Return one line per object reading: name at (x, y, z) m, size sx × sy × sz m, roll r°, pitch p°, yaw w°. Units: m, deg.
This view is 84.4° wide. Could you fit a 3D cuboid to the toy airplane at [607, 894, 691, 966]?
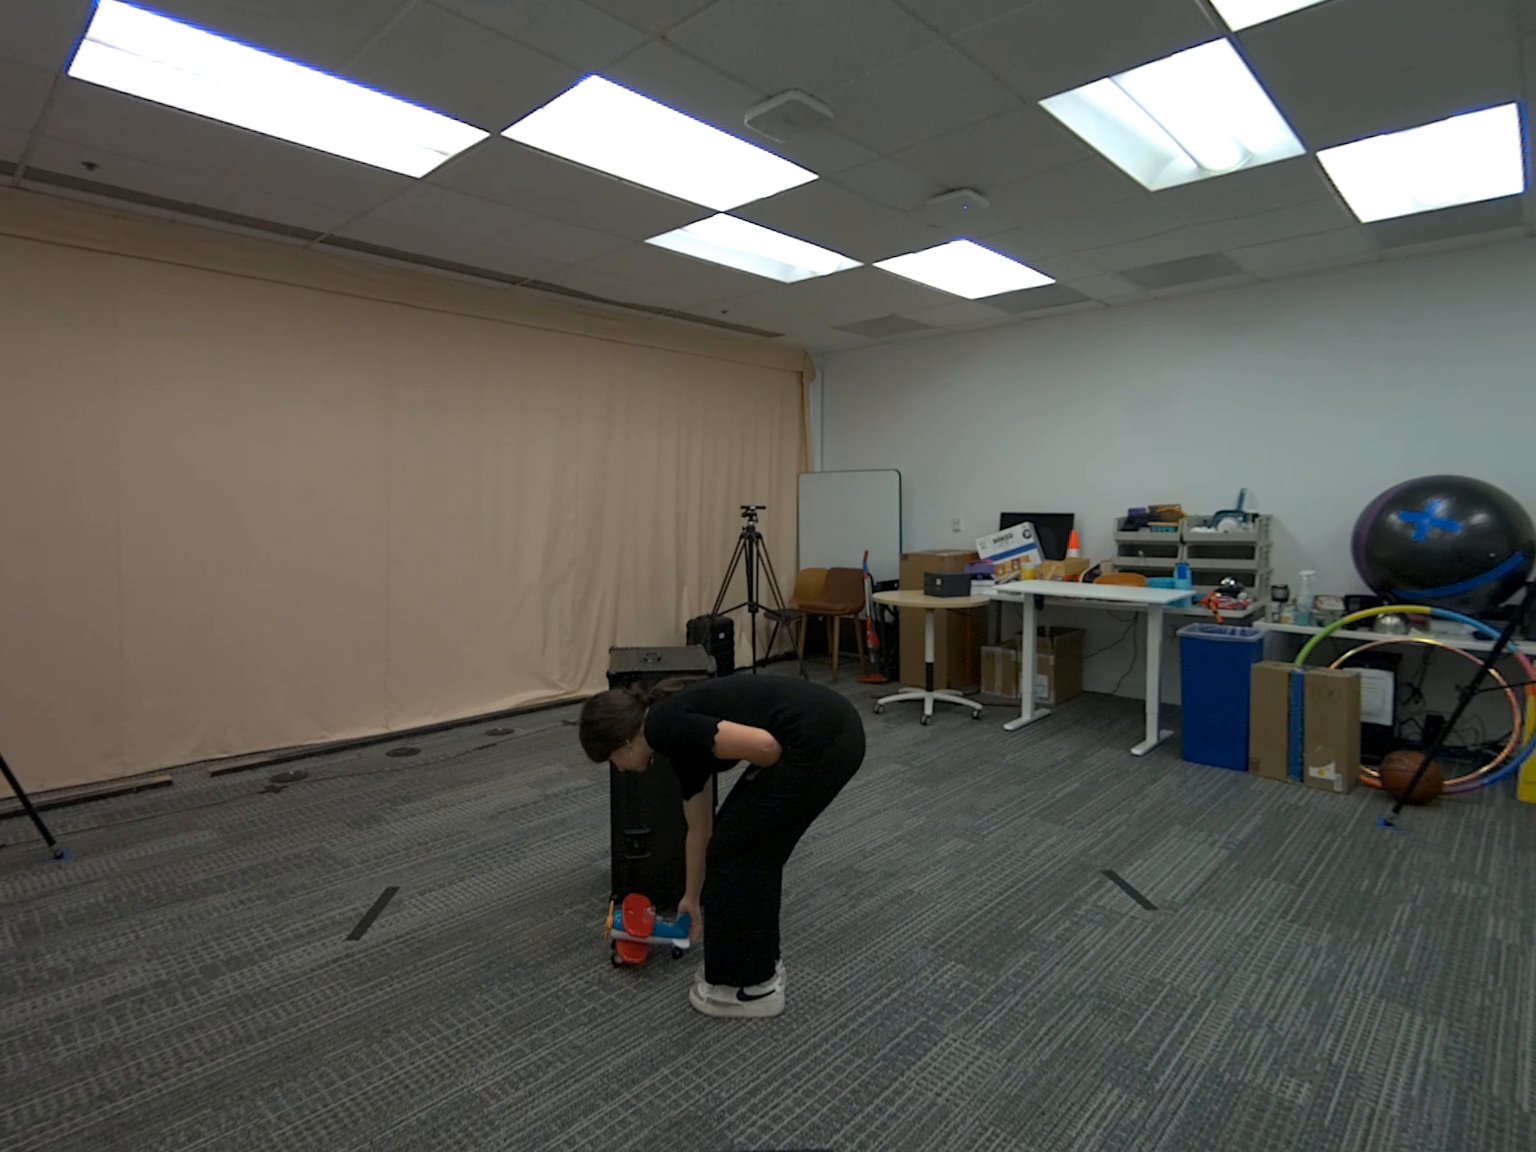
toy airplane at (-0.375, 1.097, 2.619) m, size 0.252 × 0.156 × 0.259 m, roll -5°, pitch 6°, yaw -34°
